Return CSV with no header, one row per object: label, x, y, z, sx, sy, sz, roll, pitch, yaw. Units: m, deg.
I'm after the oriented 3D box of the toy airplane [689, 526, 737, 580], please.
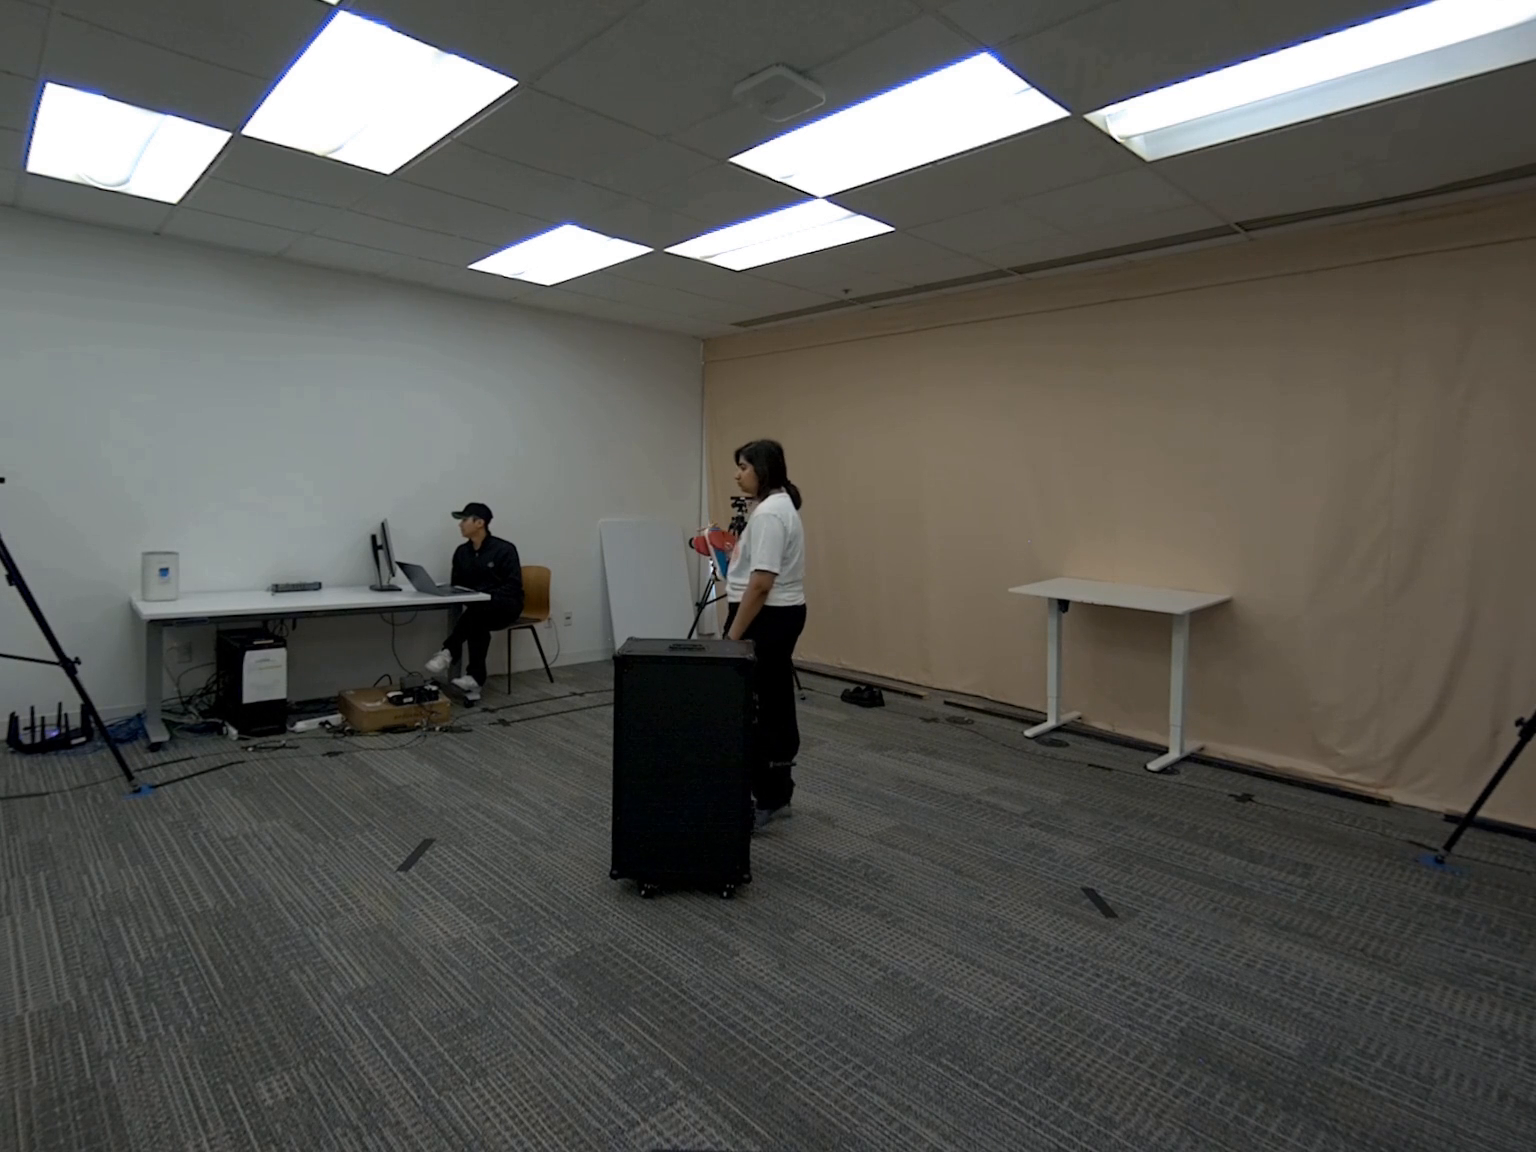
toy airplane,-0.234,-0.109,3.790,0.157,0.257,0.252,-36,10,20
